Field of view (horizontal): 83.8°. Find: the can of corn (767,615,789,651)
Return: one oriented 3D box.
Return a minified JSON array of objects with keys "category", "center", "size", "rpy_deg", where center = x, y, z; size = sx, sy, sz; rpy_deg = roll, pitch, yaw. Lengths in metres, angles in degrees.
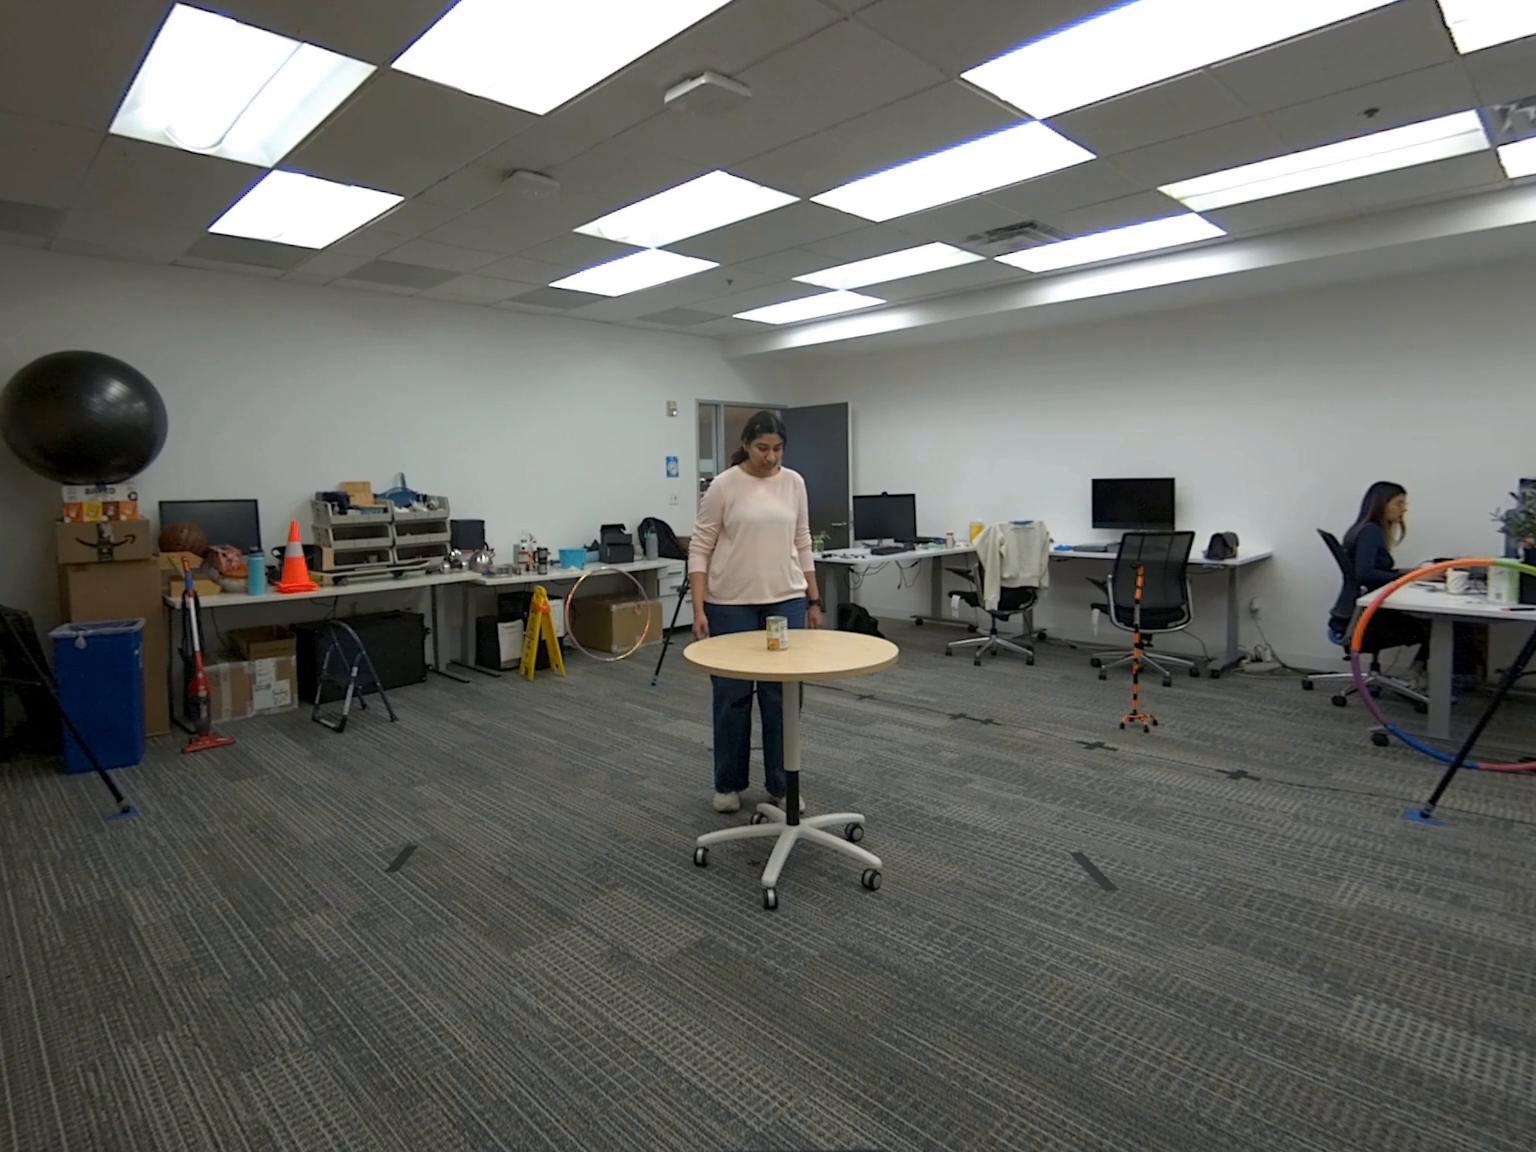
[{"category":"can of corn","center":[0.030,0.207,3.068],"size":[0.074,0.110,0.075],"rpy_deg":[-2,6,-1]}]
